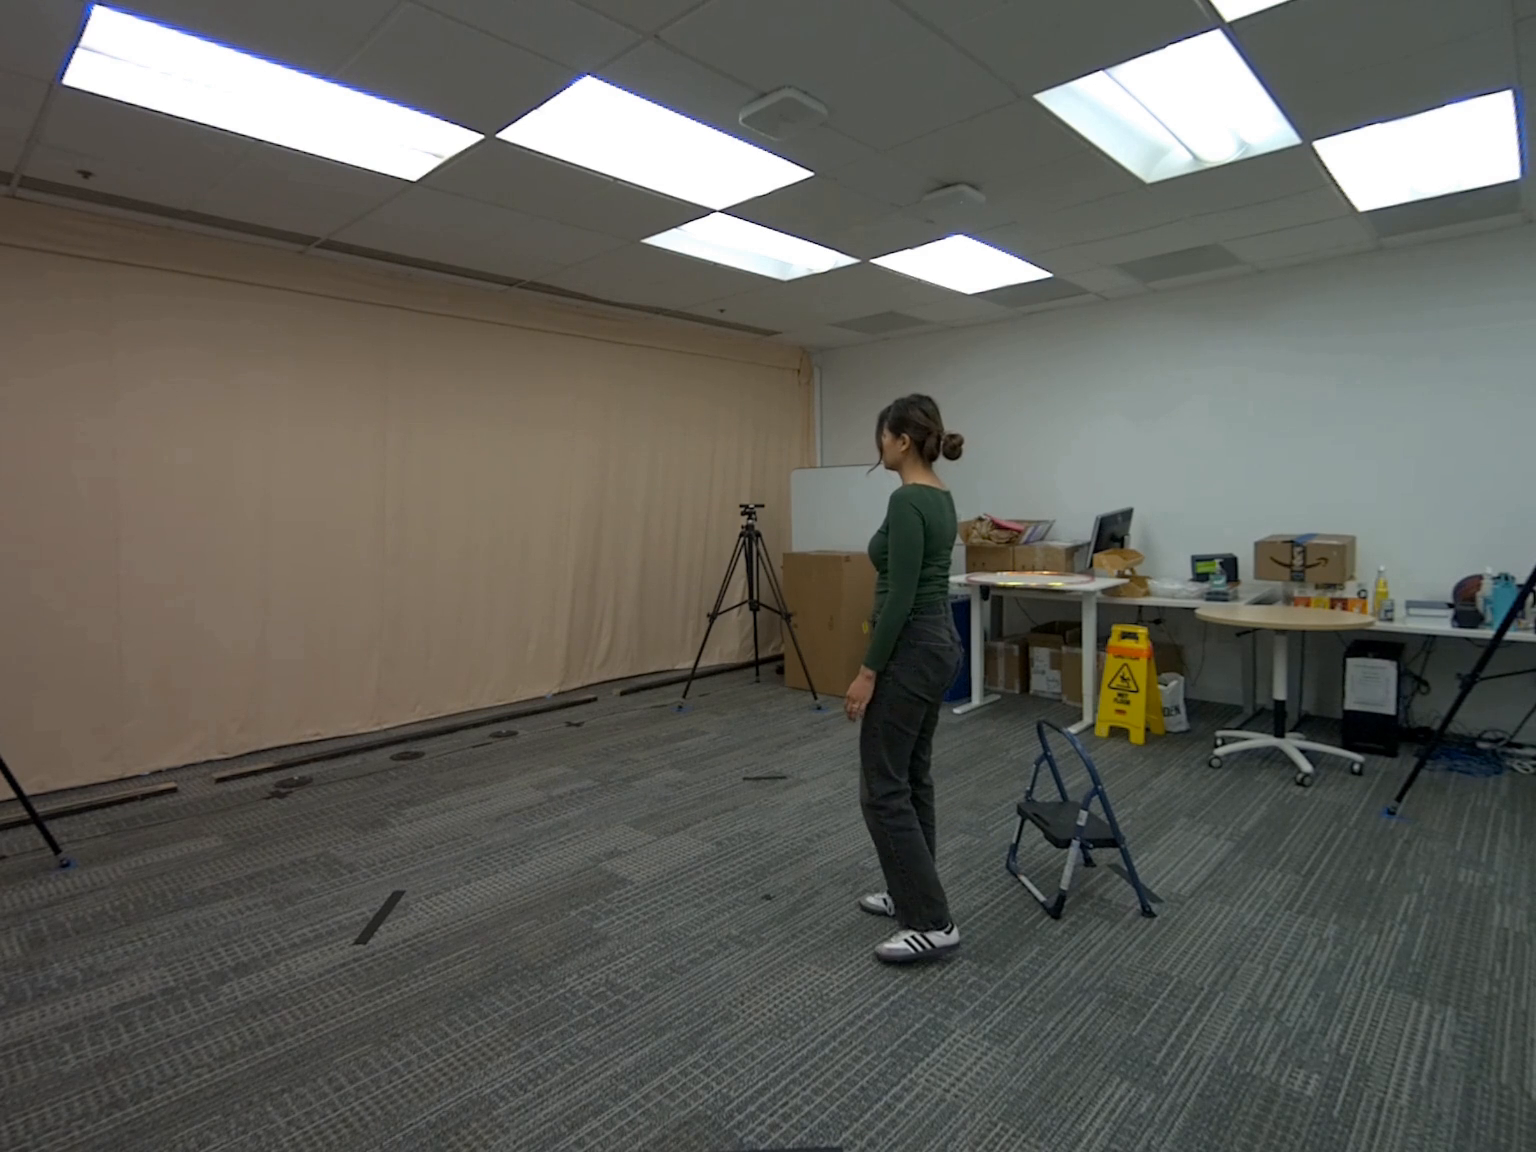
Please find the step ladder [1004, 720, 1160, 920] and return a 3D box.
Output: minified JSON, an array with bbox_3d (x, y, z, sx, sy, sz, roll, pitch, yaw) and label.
[{"bbox_3d":[1.091,0.819,2.984,0.347,0.605,0.434,-1,3,-6],"label":"step ladder"}]
